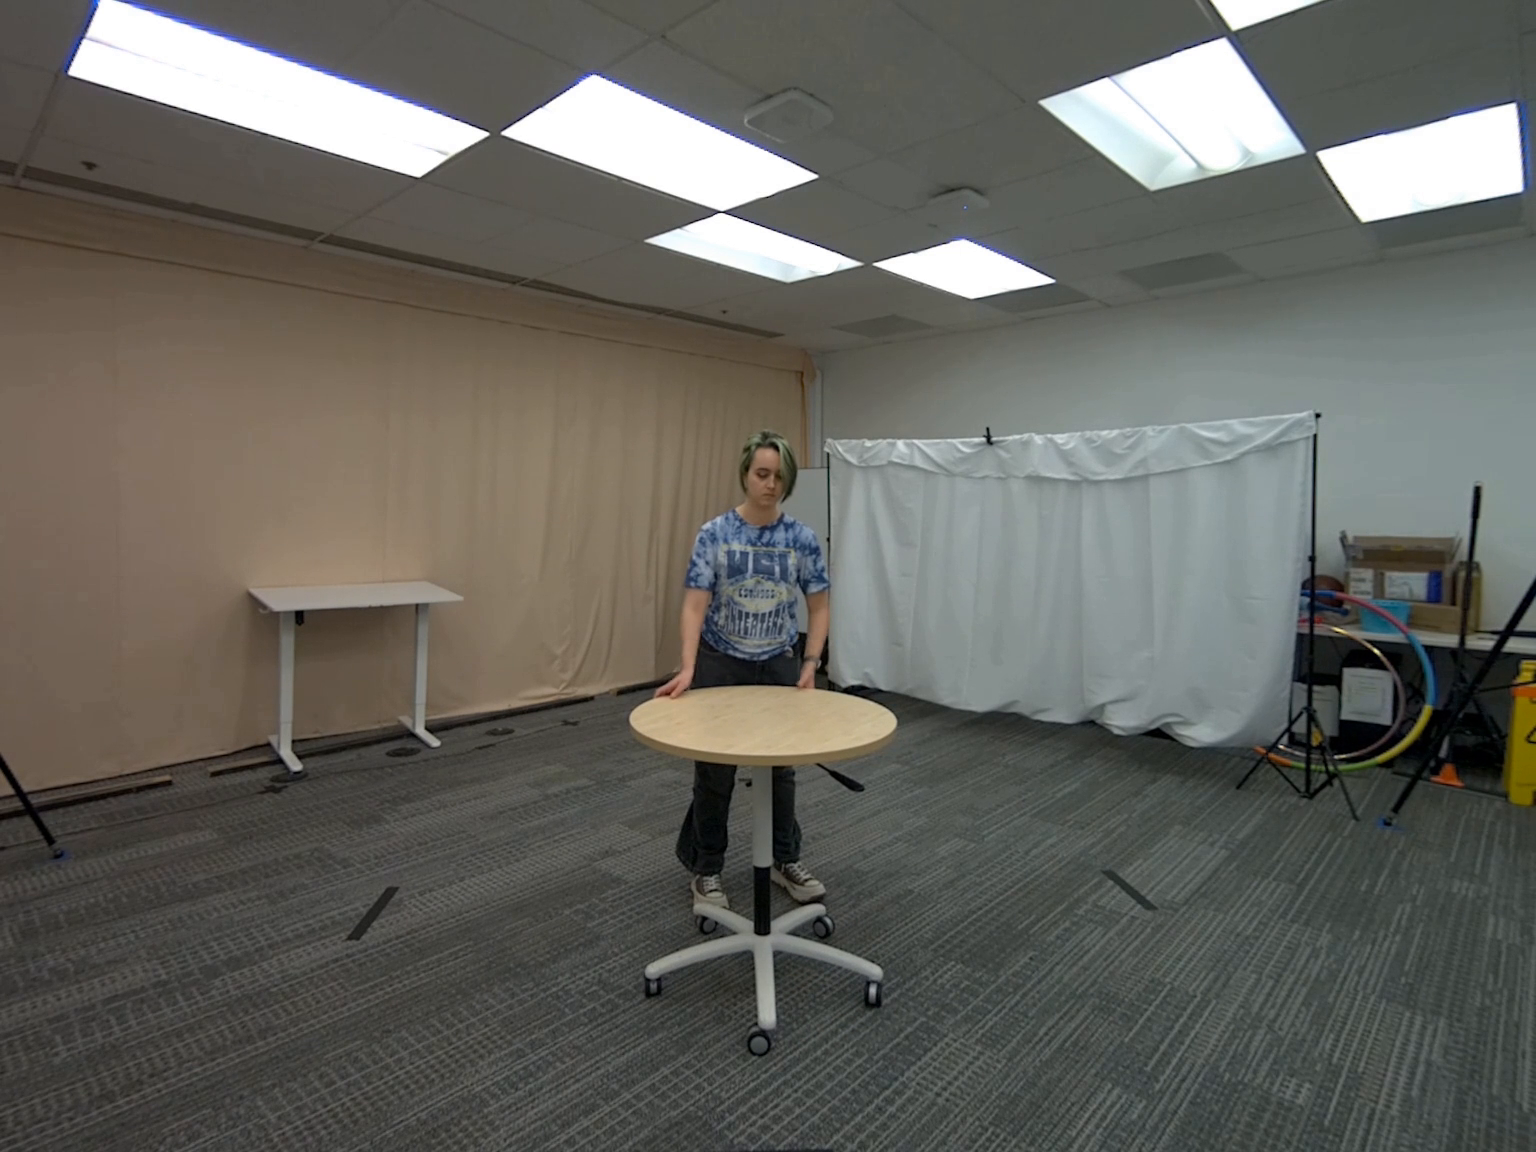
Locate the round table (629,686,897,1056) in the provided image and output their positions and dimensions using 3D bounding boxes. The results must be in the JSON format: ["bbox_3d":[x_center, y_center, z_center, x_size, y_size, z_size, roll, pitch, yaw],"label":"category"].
[{"bbox_3d":[-0.008,0.796,2.459,0.763,0.792,0.767,0,4,-2],"label":"round table"}]
